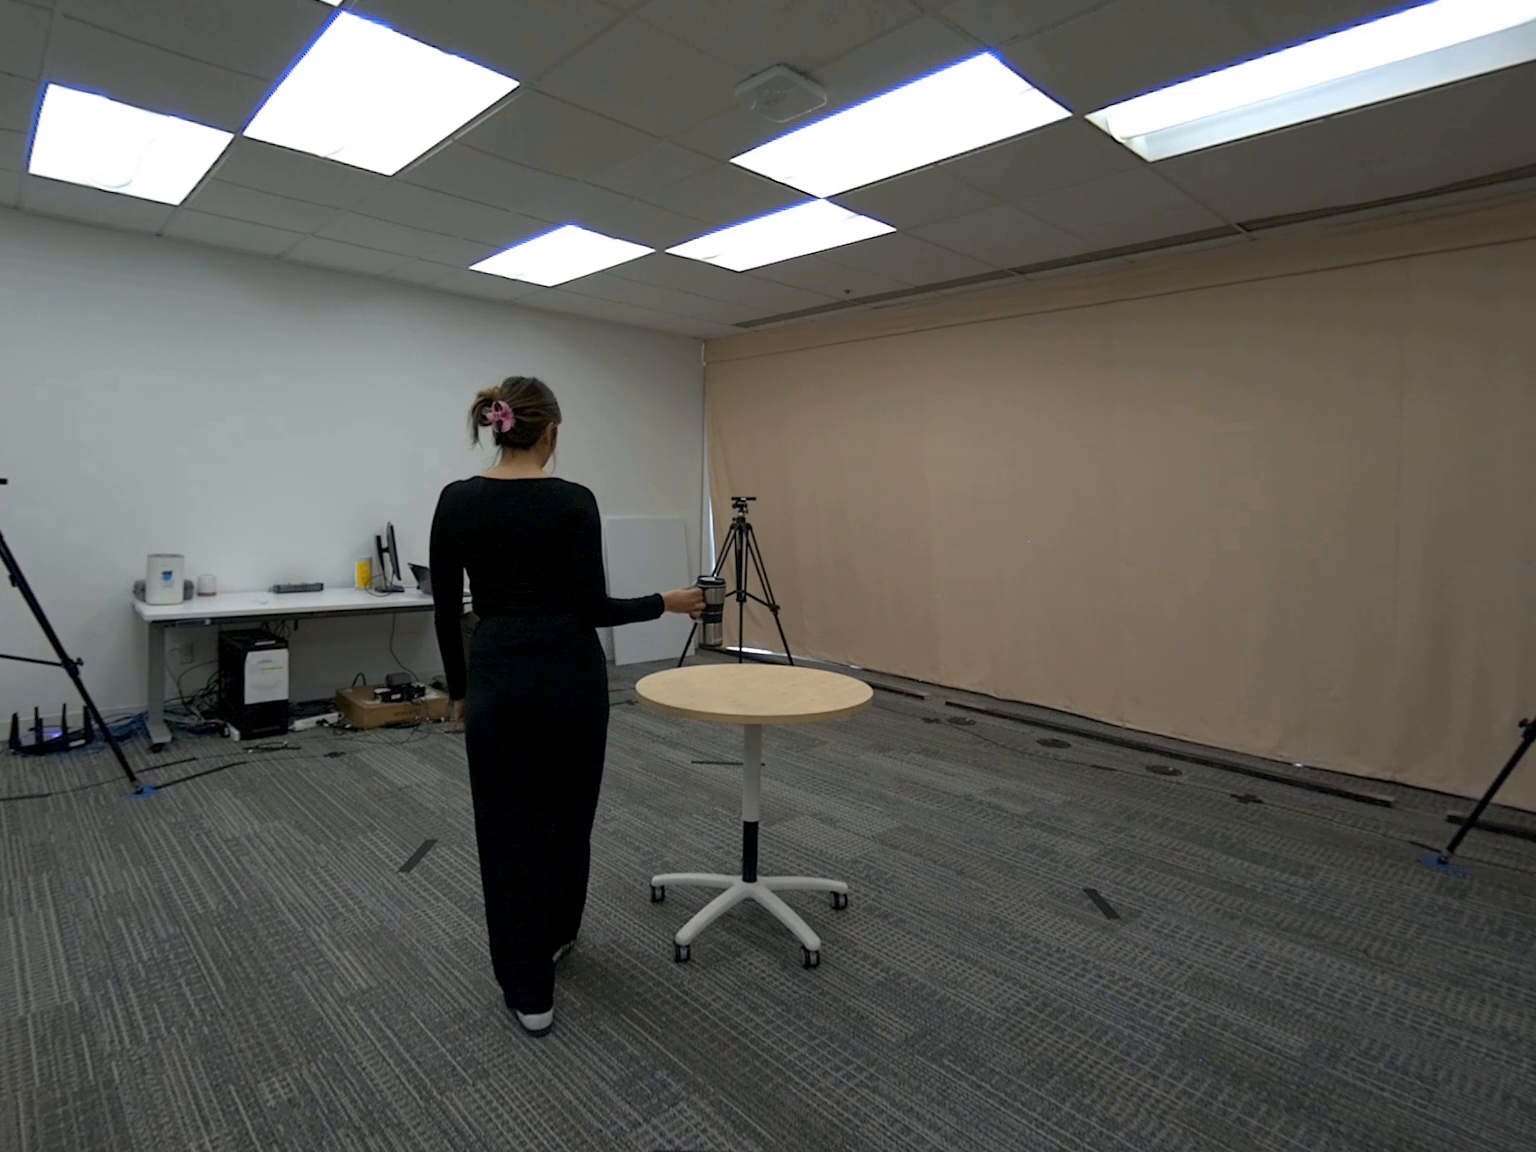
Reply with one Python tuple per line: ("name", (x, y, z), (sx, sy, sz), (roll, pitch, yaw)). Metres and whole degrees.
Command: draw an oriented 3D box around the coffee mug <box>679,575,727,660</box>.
("coffee mug", (-0.190, 0.108, 2.463), (0.120, 0.202, 0.090), (1, 10, -25))
